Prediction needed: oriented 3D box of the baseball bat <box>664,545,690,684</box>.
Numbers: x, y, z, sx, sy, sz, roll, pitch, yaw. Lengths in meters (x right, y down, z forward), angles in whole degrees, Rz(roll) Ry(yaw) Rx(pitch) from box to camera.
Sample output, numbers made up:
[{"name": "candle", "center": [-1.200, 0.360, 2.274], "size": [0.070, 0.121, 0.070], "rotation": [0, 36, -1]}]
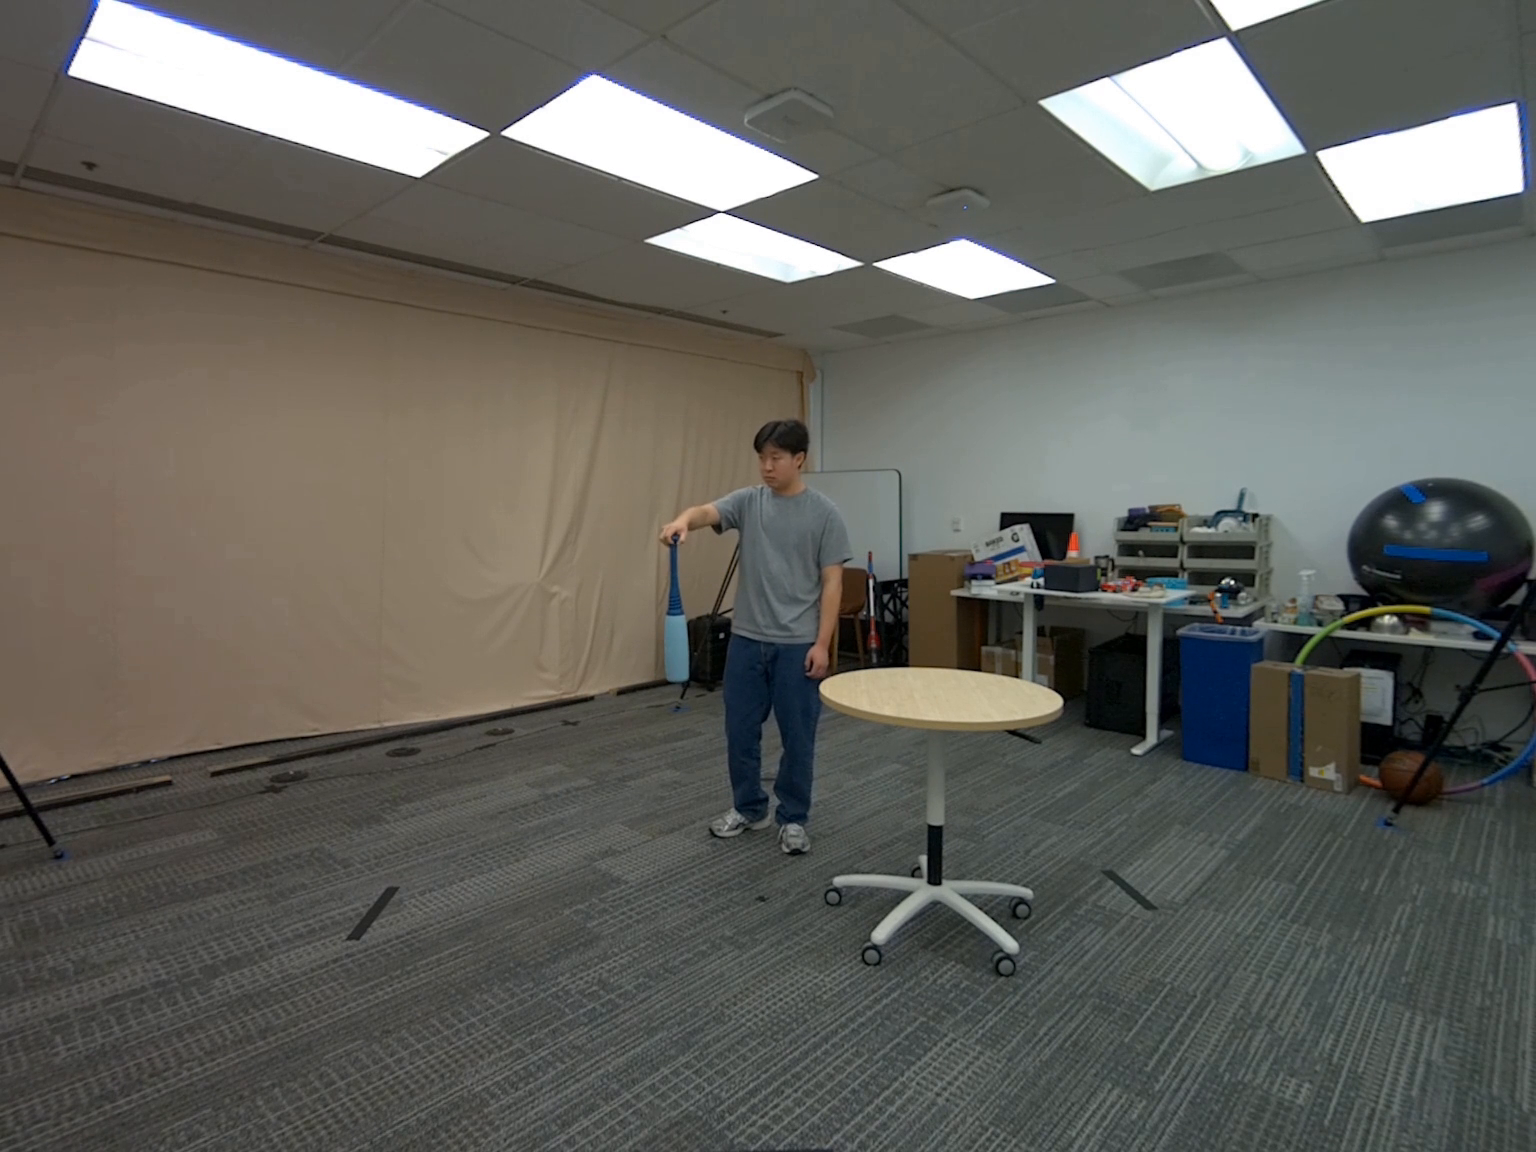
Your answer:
[{"name": "baseball bat", "center": [-0.321, 0.124, 3.078], "size": [0.089, 0.541, 0.089], "rotation": [1, 7, -2]}]
